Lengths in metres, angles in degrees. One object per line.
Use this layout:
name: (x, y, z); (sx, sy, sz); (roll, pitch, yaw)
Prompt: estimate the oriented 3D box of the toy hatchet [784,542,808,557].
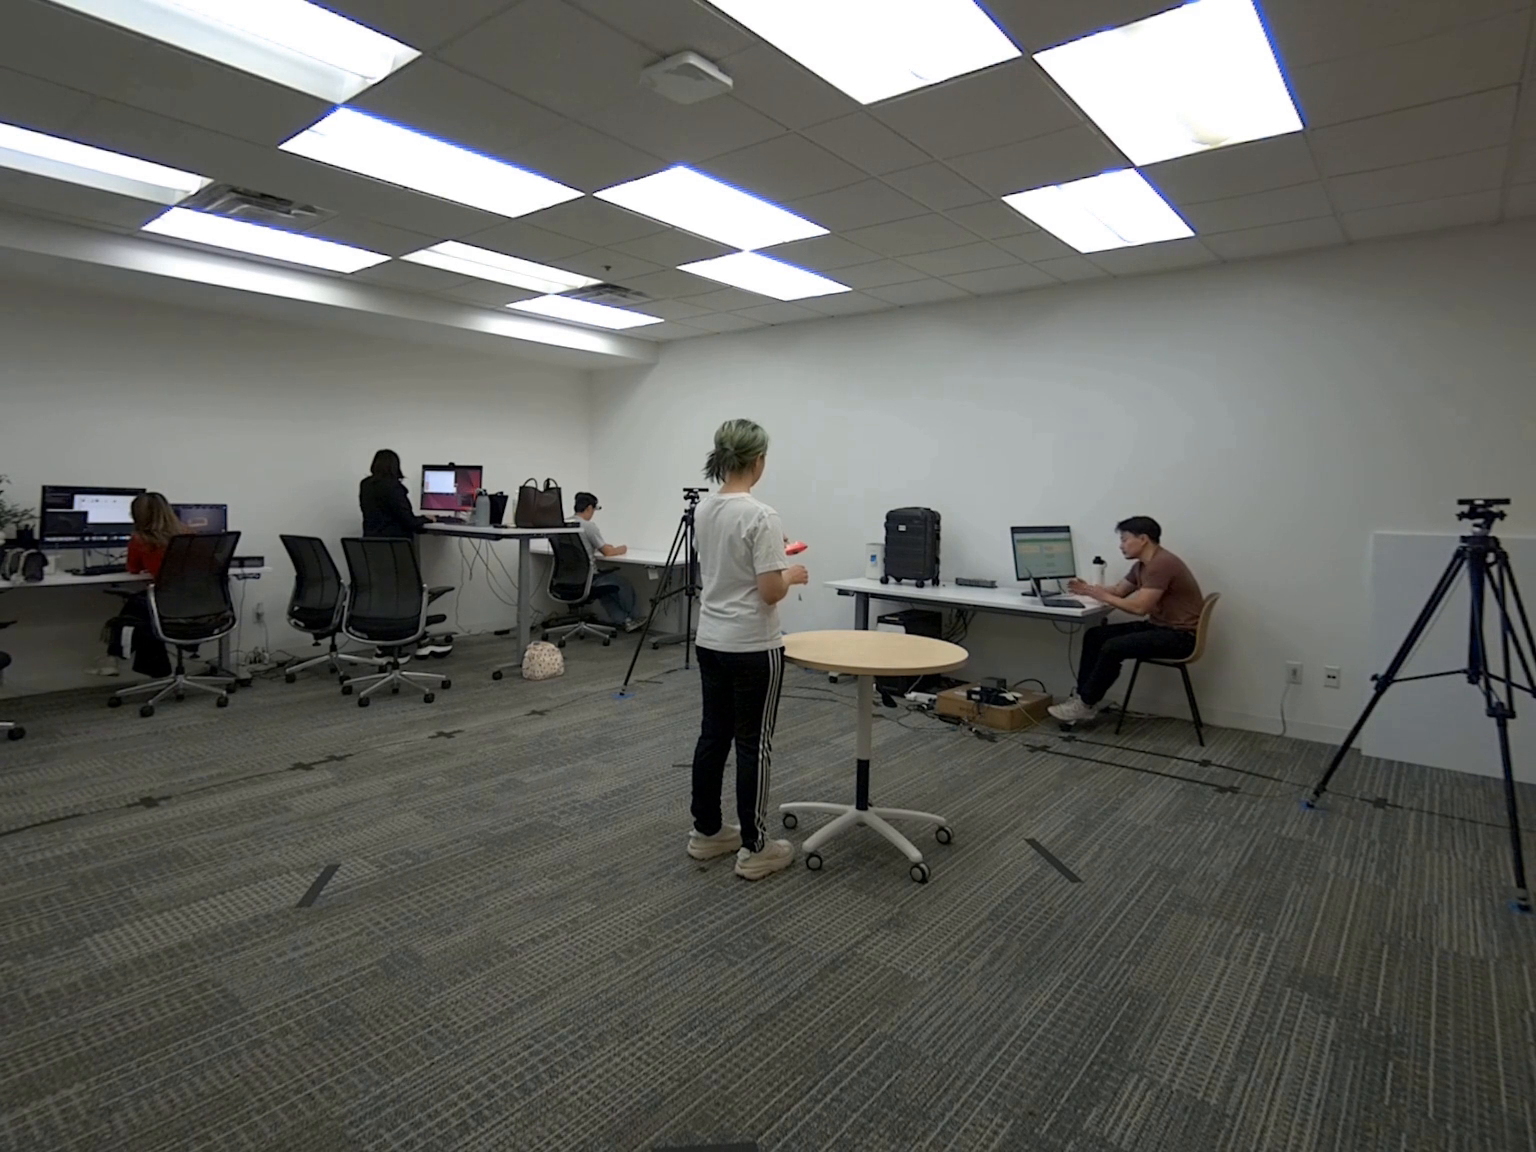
toy hatchet: (0.057, -0.160, 3.491); (0.131, 0.029, 0.278); (-6, 29, -3)
